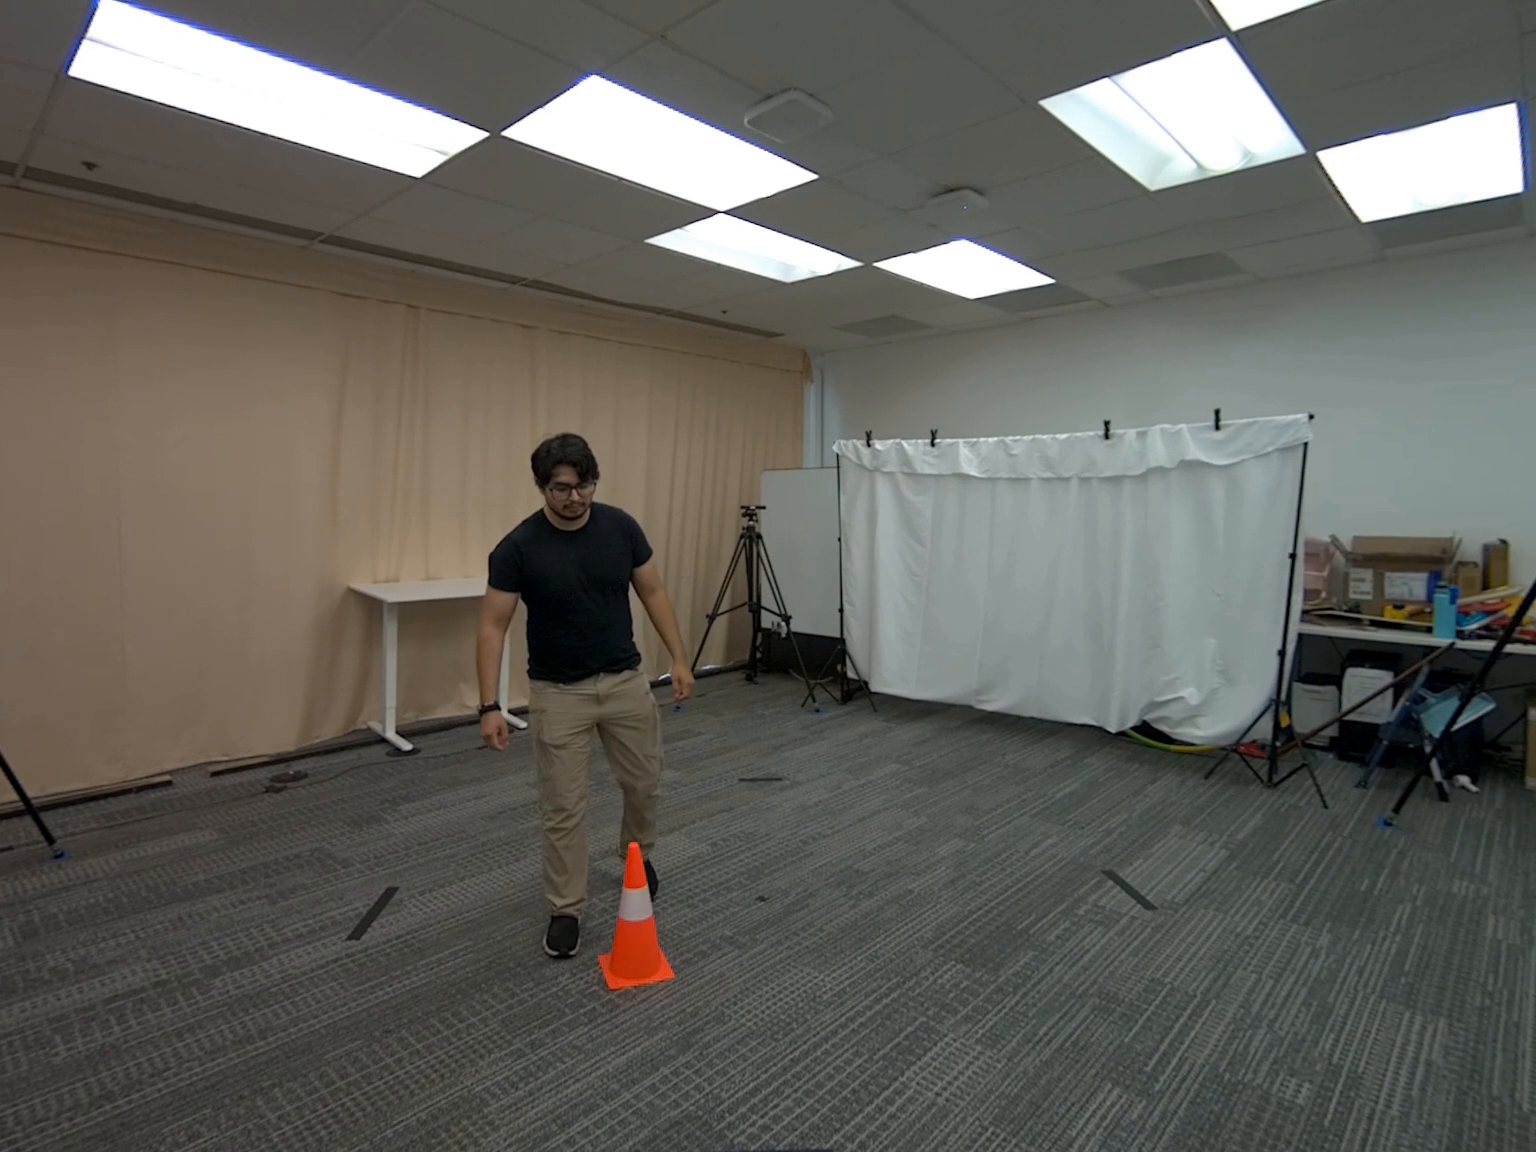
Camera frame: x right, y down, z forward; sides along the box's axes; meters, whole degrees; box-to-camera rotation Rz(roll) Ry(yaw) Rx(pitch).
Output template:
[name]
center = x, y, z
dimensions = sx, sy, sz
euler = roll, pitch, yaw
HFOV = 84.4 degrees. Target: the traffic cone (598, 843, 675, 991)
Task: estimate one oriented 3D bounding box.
[traffic cone]
center = -0.389, 0.994, 2.536
dimensions = 0.201, 0.383, 0.207
euler = 1, 4, -18
